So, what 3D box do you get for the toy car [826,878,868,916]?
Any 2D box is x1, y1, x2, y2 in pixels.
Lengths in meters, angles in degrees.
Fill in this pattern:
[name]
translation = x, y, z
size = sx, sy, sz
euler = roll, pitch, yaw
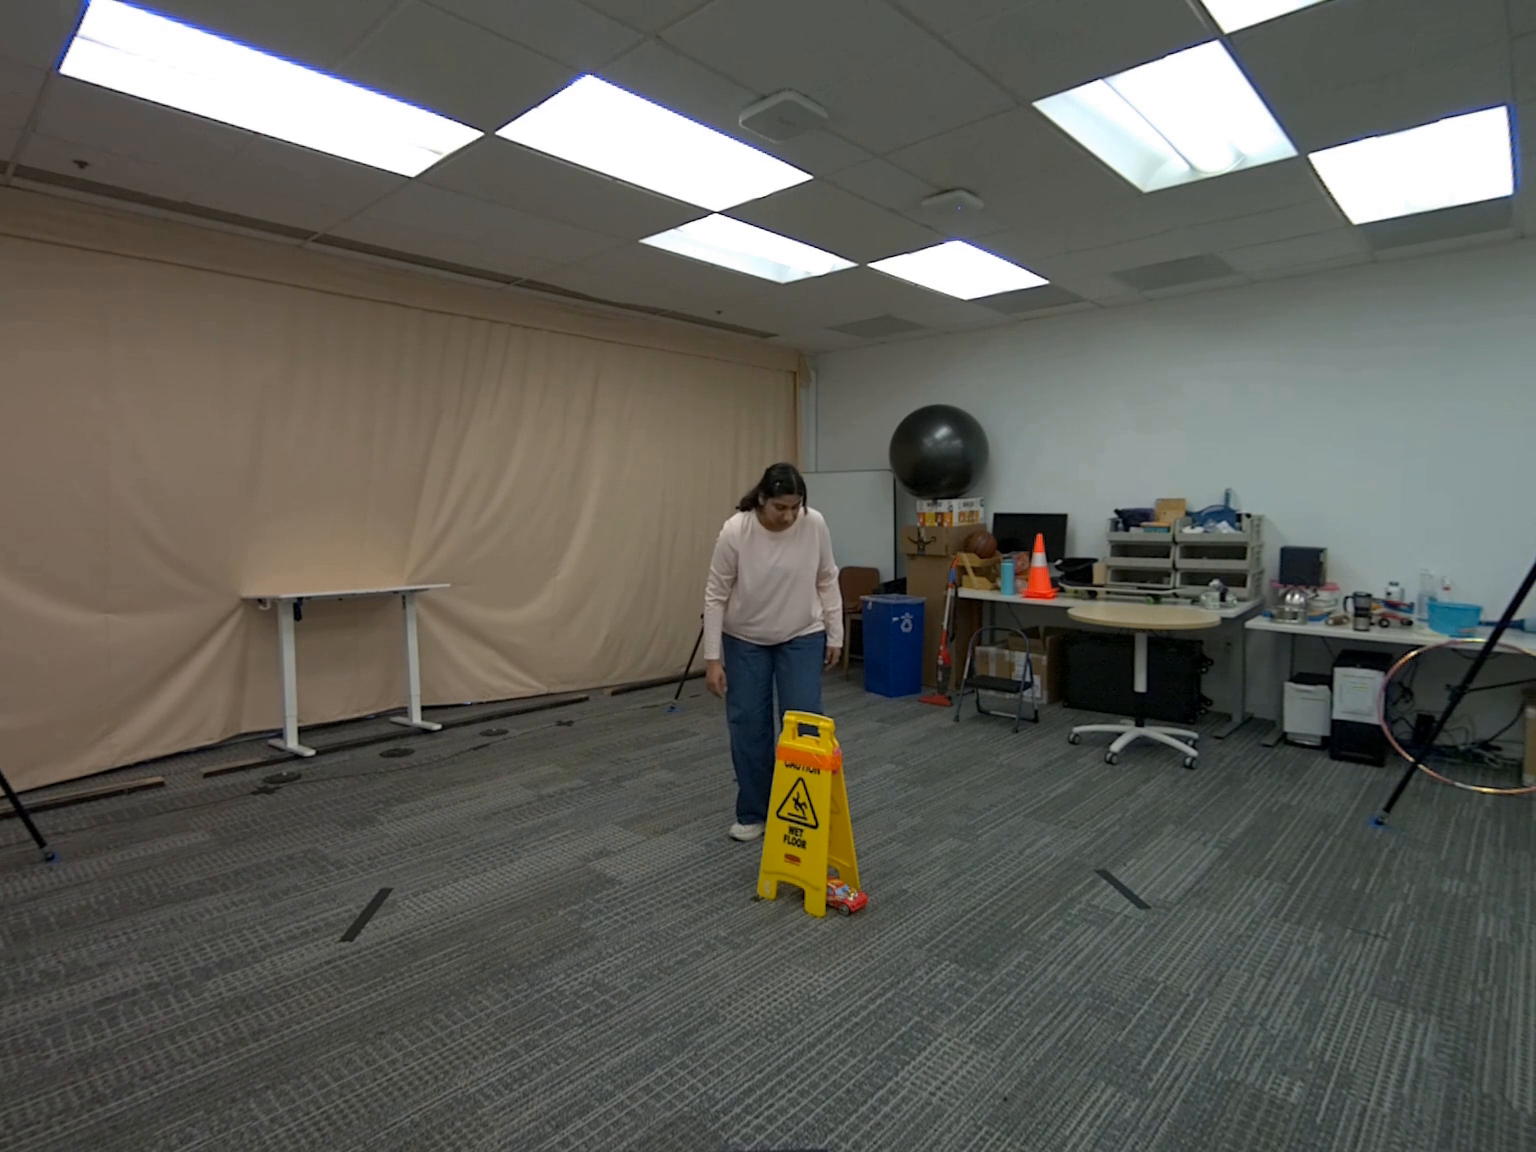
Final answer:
[toy car]
translation = 0.223, 1.110, 2.958
size = 0.264, 0.083, 0.126
euler = 16, 16, 42
